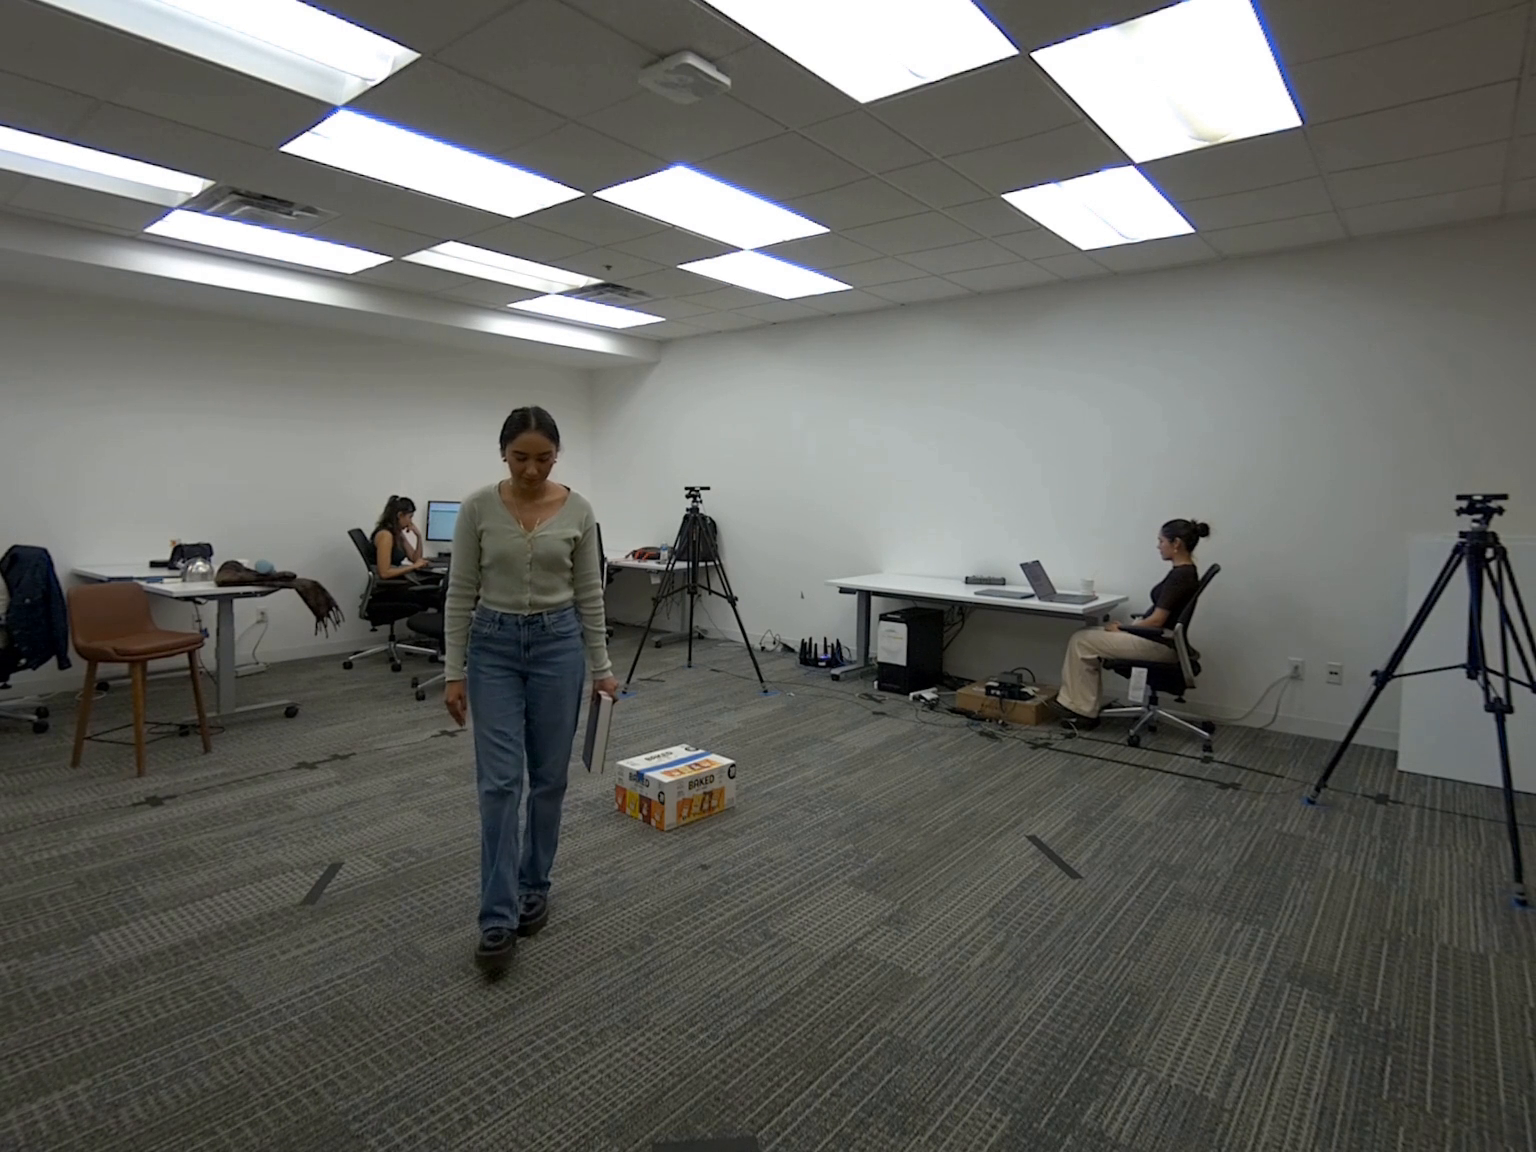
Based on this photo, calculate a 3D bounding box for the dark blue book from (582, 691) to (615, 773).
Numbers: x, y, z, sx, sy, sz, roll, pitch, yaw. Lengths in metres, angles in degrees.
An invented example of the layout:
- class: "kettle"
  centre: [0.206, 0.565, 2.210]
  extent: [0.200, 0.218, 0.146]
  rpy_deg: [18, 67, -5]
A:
- class: "dark blue book"
  centre: [-0.568, 0.502, 2.737]
  extent: [0.044, 0.245, 0.167]
  rpy_deg: [6, 1, -20]
